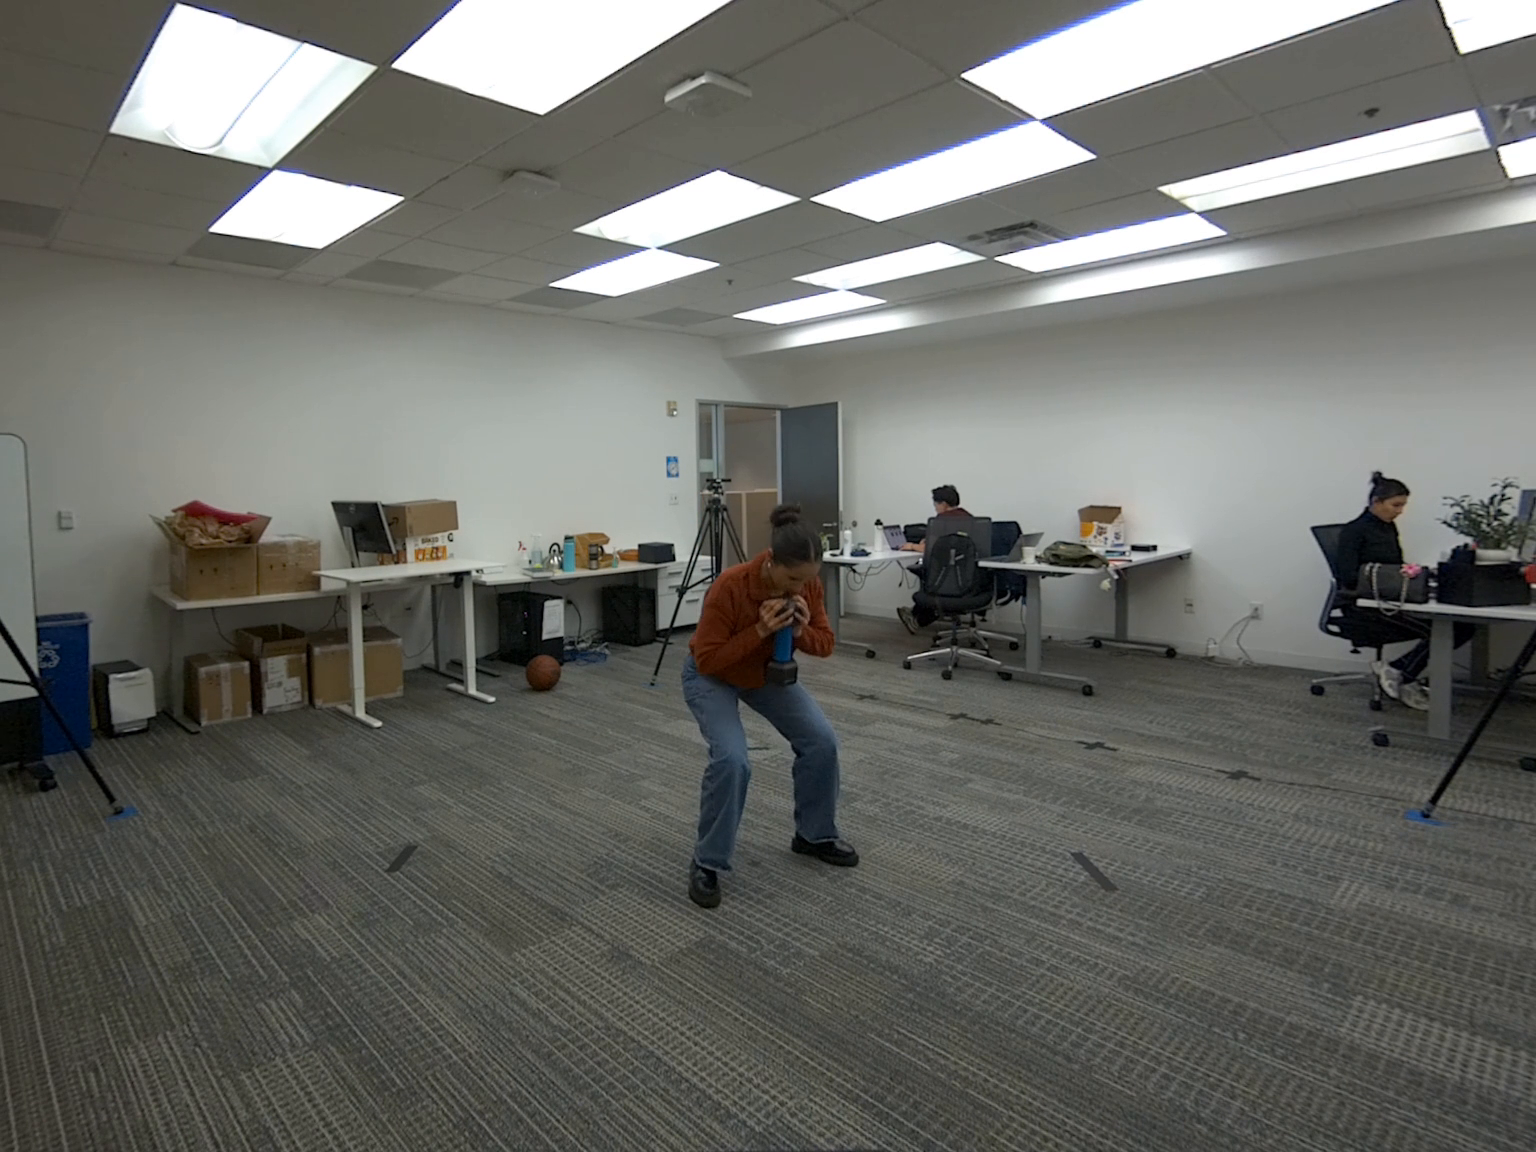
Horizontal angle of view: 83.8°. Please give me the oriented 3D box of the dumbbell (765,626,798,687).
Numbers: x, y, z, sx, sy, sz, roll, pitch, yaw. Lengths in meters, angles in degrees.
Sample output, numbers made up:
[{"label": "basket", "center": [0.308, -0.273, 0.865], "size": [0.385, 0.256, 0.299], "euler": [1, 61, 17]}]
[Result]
[{"label": "dumbbell", "center": [0.031, 0.223, 2.888], "size": [0.120, 0.291, 0.112], "euler": [-9, 13, -37]}]
